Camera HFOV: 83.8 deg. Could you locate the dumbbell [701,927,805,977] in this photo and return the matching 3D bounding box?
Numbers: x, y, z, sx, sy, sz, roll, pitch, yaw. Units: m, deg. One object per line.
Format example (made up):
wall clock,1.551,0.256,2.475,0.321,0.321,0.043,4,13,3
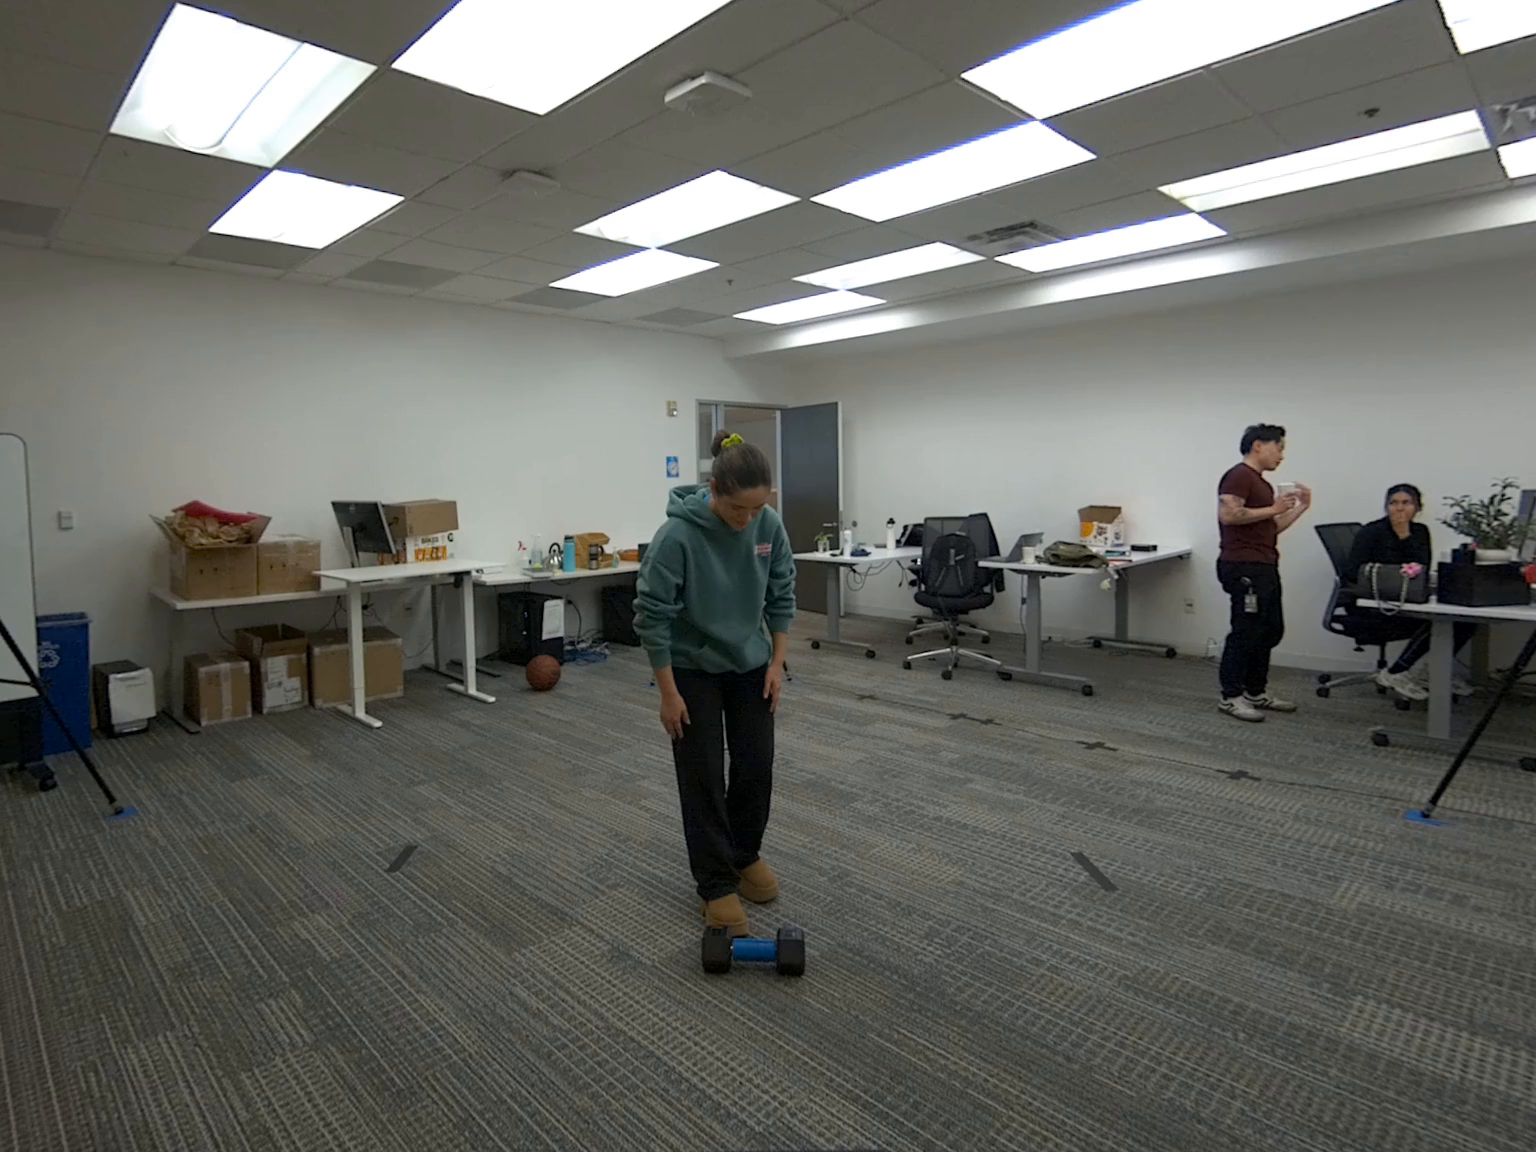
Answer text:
dumbbell,-0.037,1.071,2.438,0.295,0.125,0.106,-1,-26,5
